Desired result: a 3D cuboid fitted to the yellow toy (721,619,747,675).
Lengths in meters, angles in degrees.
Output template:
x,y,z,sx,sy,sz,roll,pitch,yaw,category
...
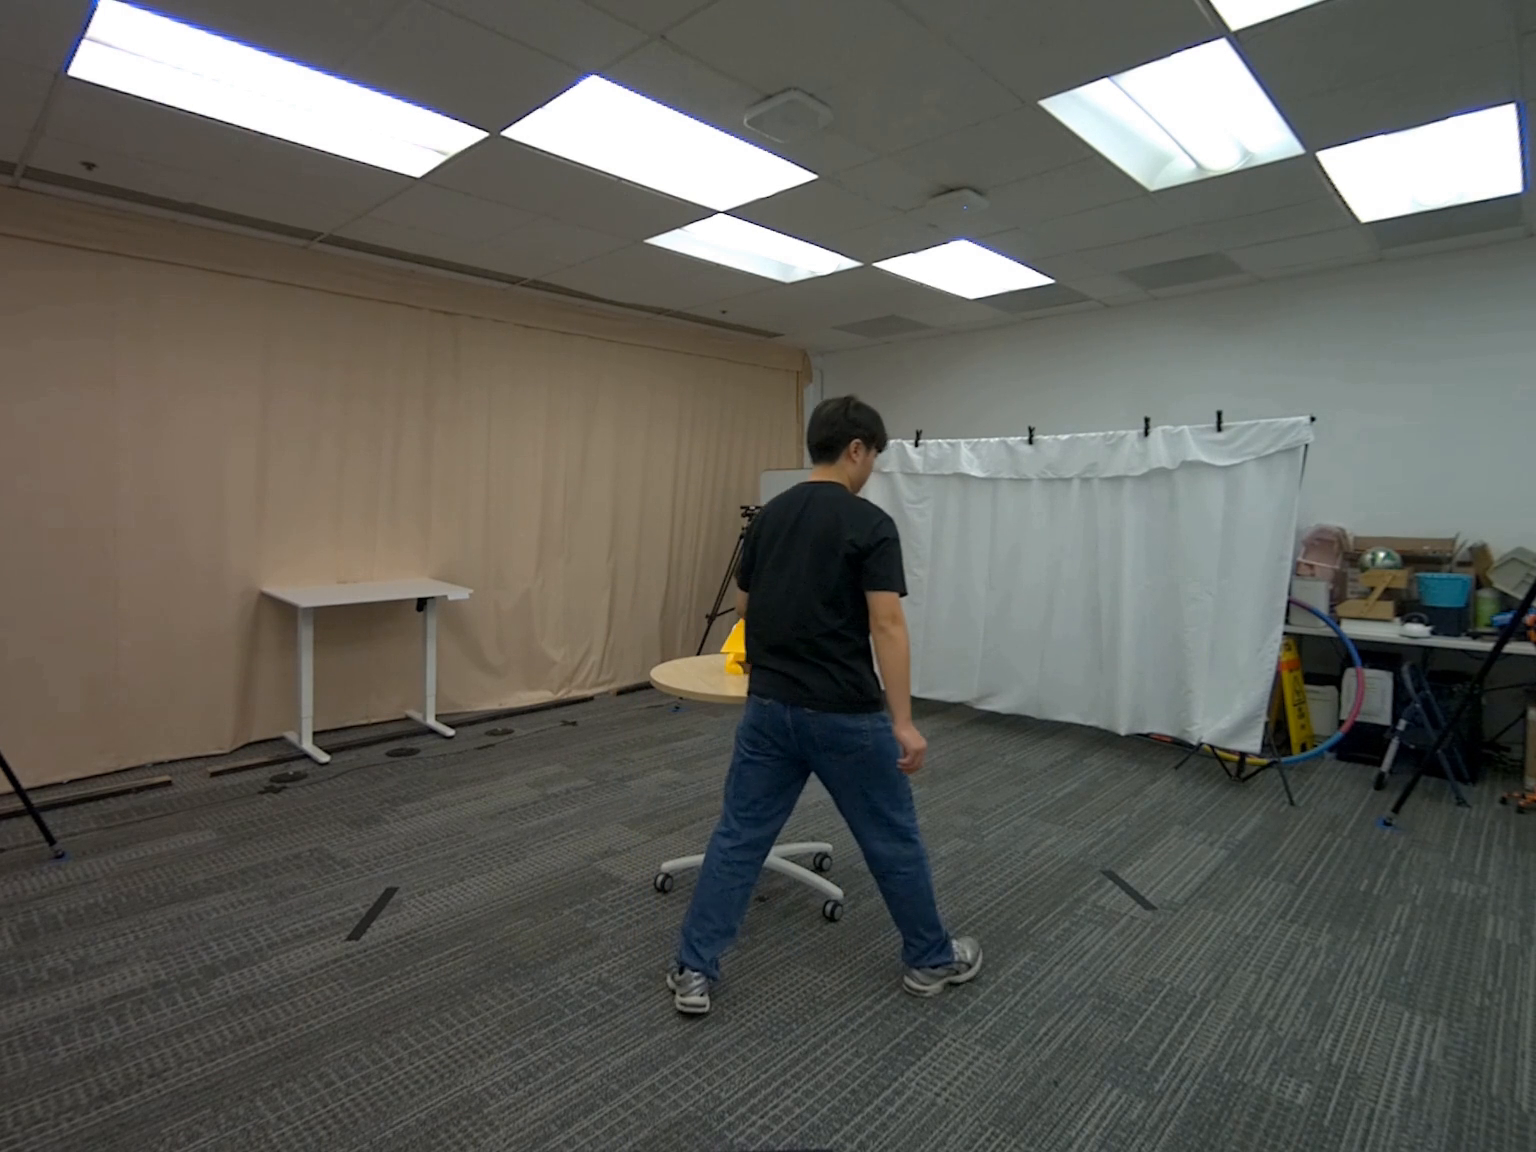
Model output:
x,y,z,sx,sy,sz,roll,pitch,yaw,category
-0.050,0.226,3.042,0.207,0.230,0.192,1,3,8,yellow toy
